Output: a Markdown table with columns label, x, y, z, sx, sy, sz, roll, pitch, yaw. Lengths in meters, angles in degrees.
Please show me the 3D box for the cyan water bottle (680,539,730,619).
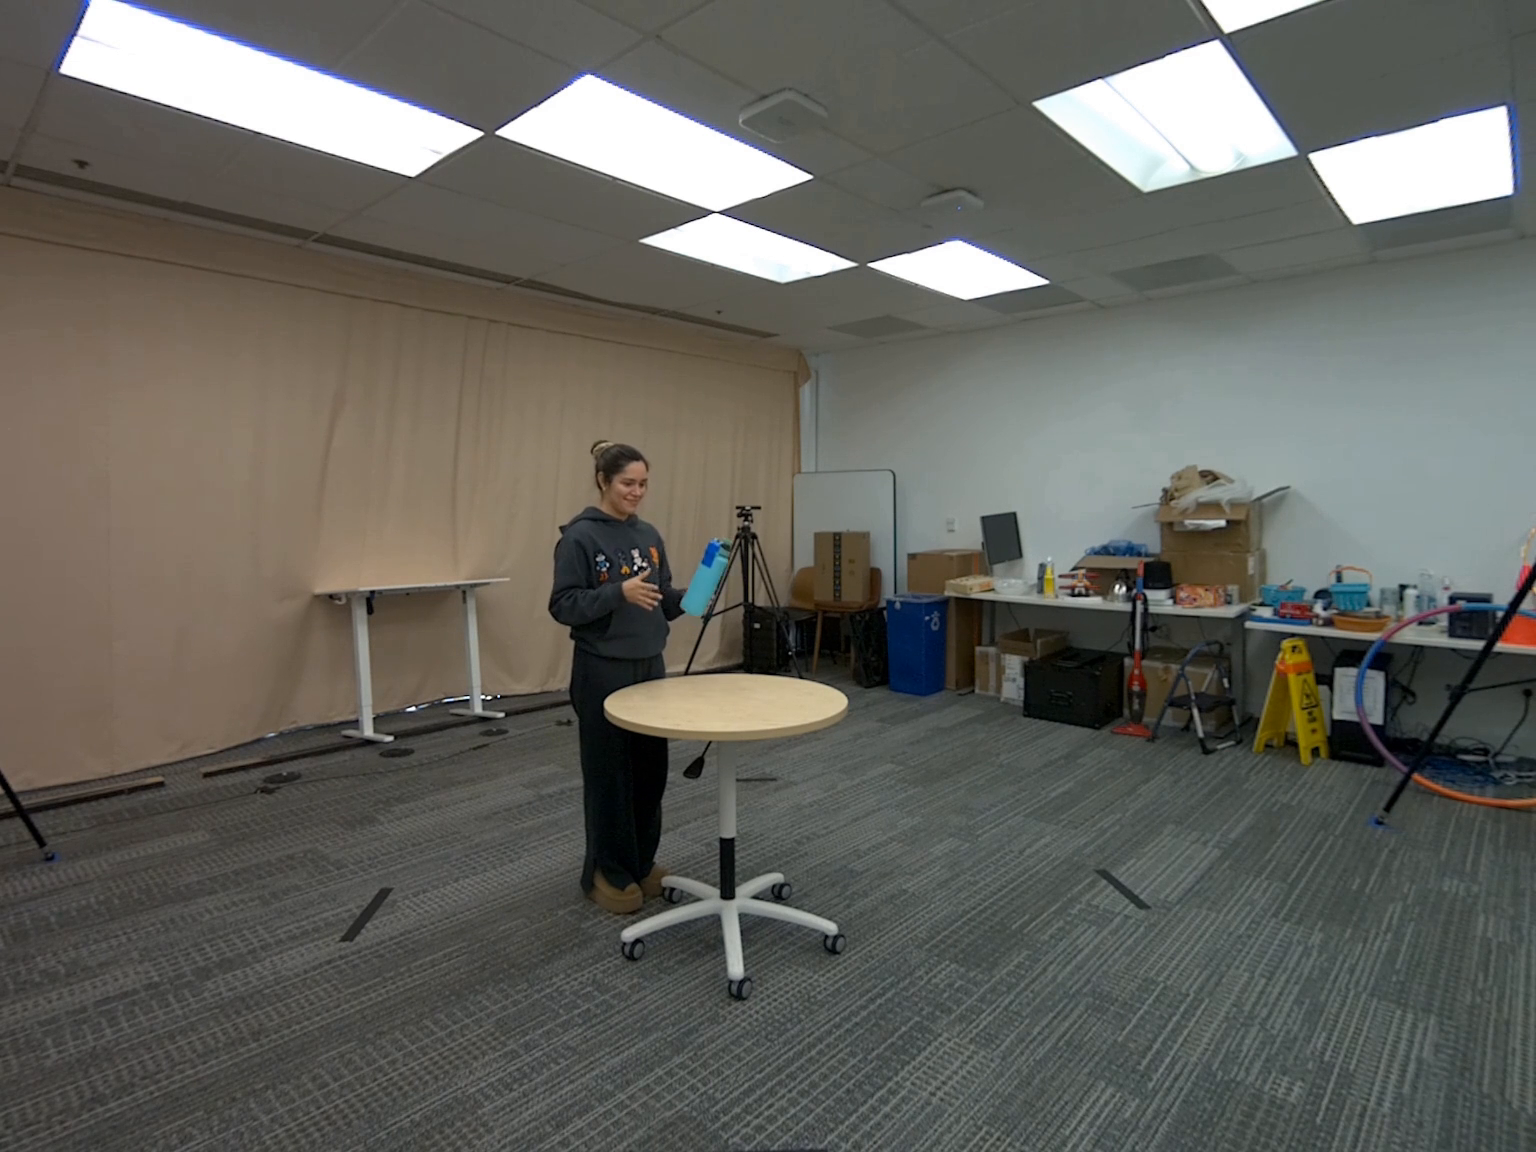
| label | x | y | z | sx | sy | sz | roll | pitch | yaw |
| --- | --- | --- | --- | --- | --- | --- | --- | --- | --- |
| cyan water bottle | -0.218 | -0.011 | 2.921 | 0.092 | 0.283 | 0.093 | 23 | 10 | -6 |
